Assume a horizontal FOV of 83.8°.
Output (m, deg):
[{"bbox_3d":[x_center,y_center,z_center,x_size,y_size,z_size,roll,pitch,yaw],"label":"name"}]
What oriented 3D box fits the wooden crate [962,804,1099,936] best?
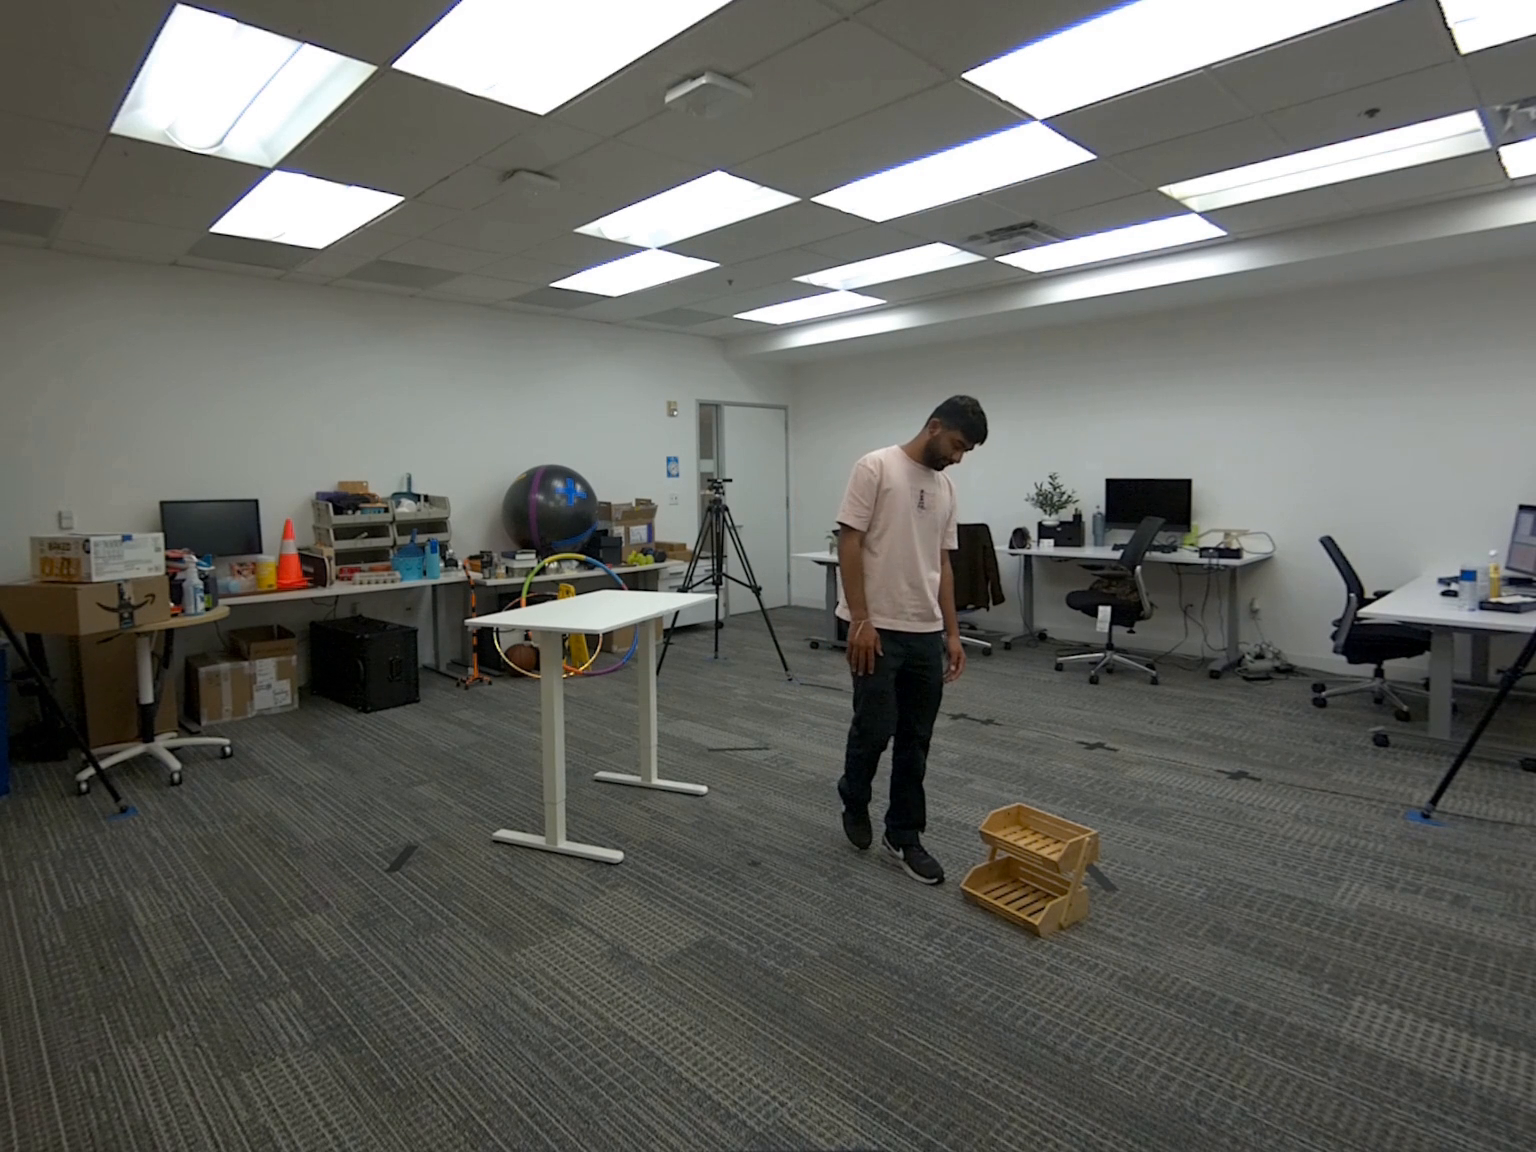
[{"bbox_3d":[0.846,0.935,2.758,0.294,0.272,0.334,-4,5,-35],"label":"wooden crate"}]
